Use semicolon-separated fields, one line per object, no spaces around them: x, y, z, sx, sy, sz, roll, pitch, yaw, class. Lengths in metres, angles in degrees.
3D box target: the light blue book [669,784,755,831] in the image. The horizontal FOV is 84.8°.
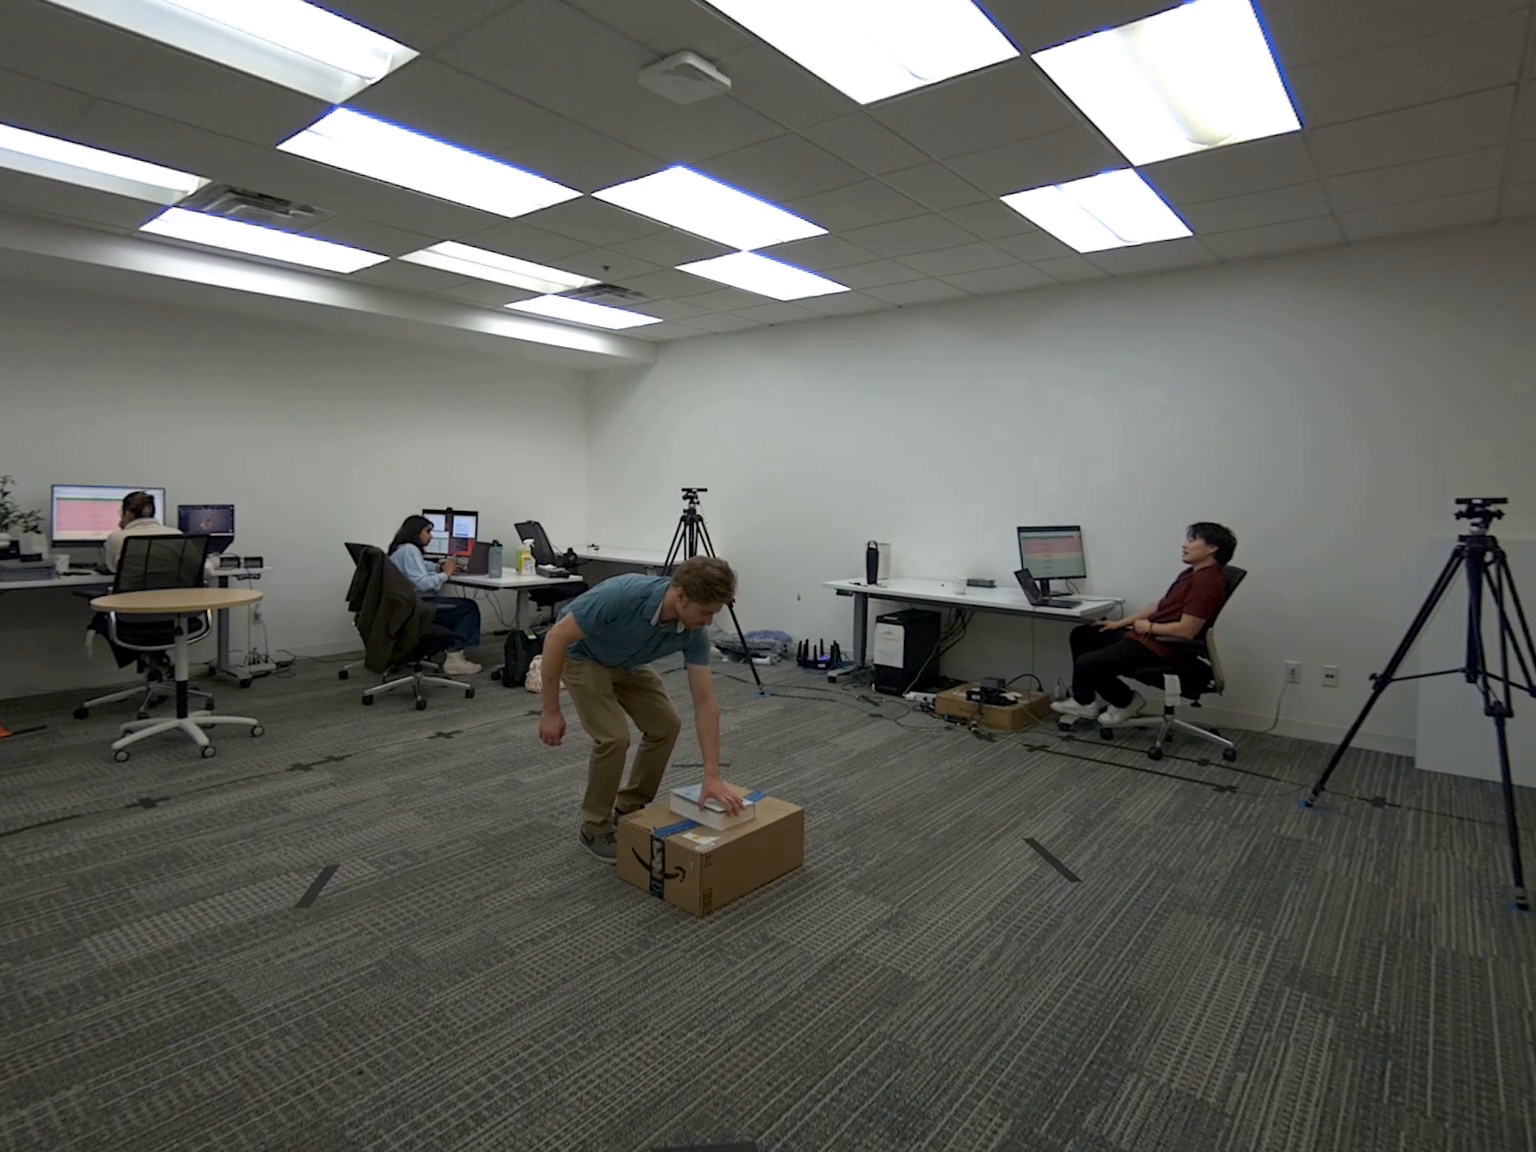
-0.213;0.827;3.094;0.270;0.059;0.185;7;5;42;light blue book
